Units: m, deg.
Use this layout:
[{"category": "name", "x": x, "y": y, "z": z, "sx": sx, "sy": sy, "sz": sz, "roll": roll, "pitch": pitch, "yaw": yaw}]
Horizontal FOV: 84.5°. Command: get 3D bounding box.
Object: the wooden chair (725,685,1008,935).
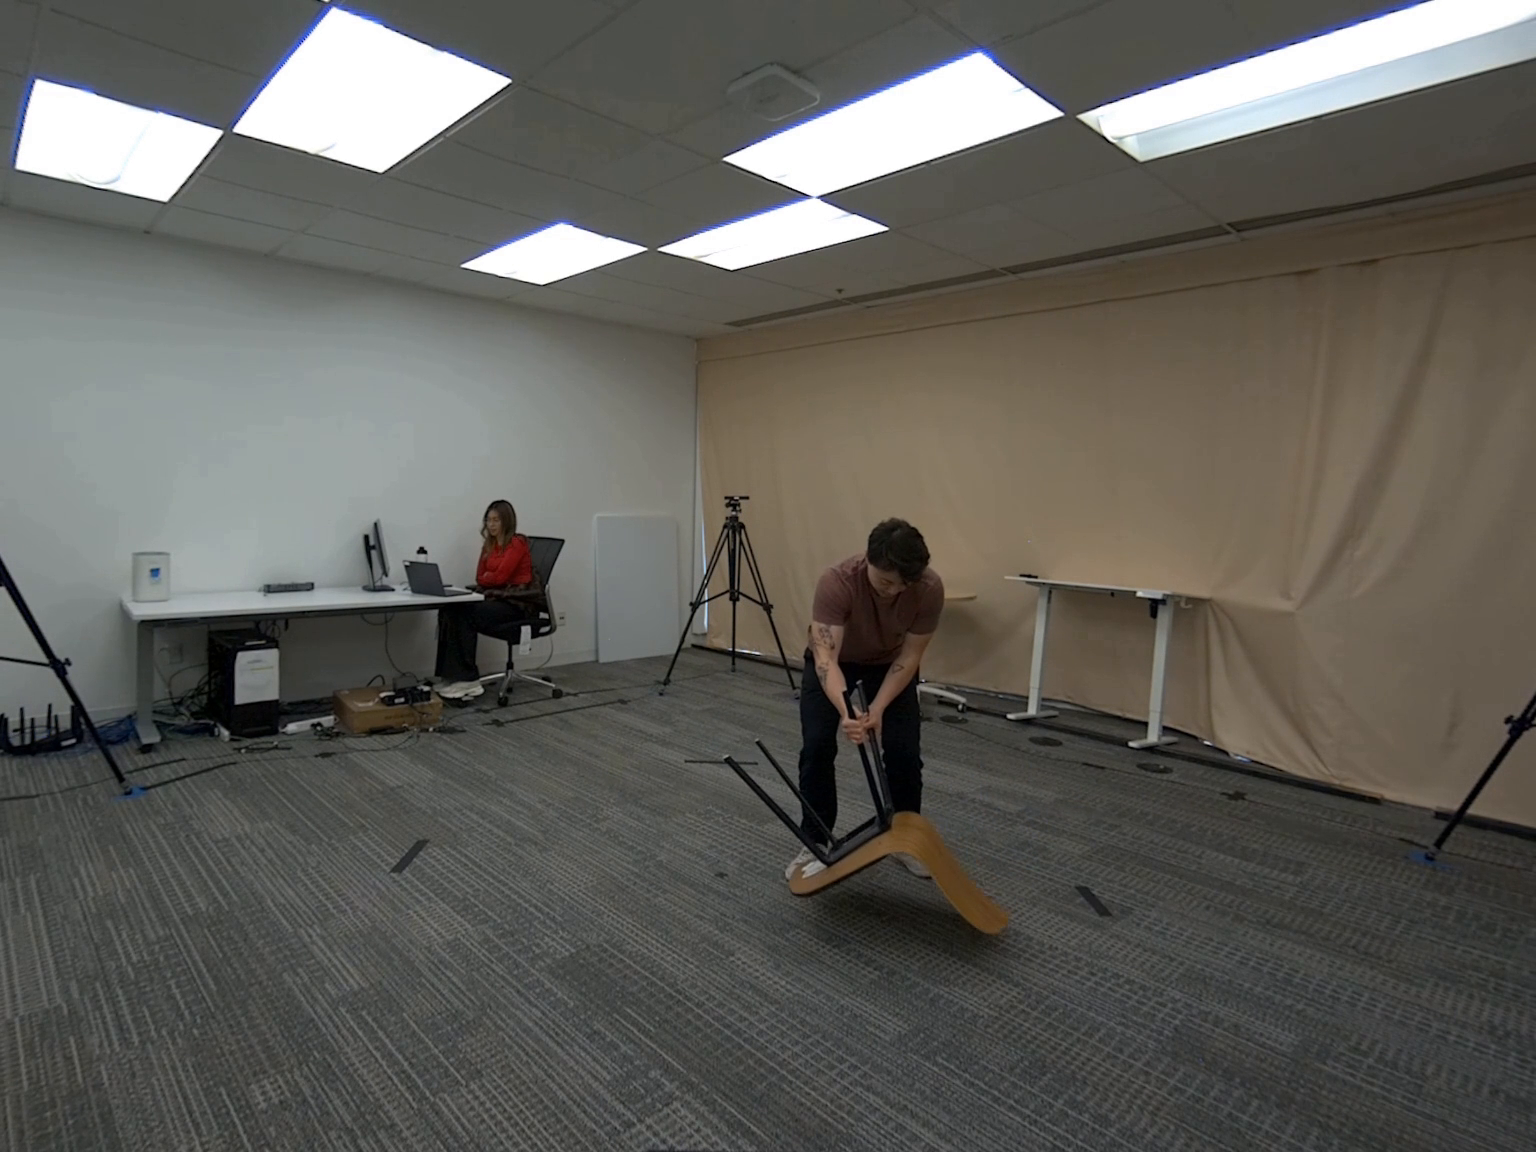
[{"category": "wooden chair", "x": 0.291, "y": 0.858, "z": 2.755, "sx": 0.524, "sy": 0.889, "sz": 0.471, "roll": -35, "pitch": -12, "yaw": 8}]
